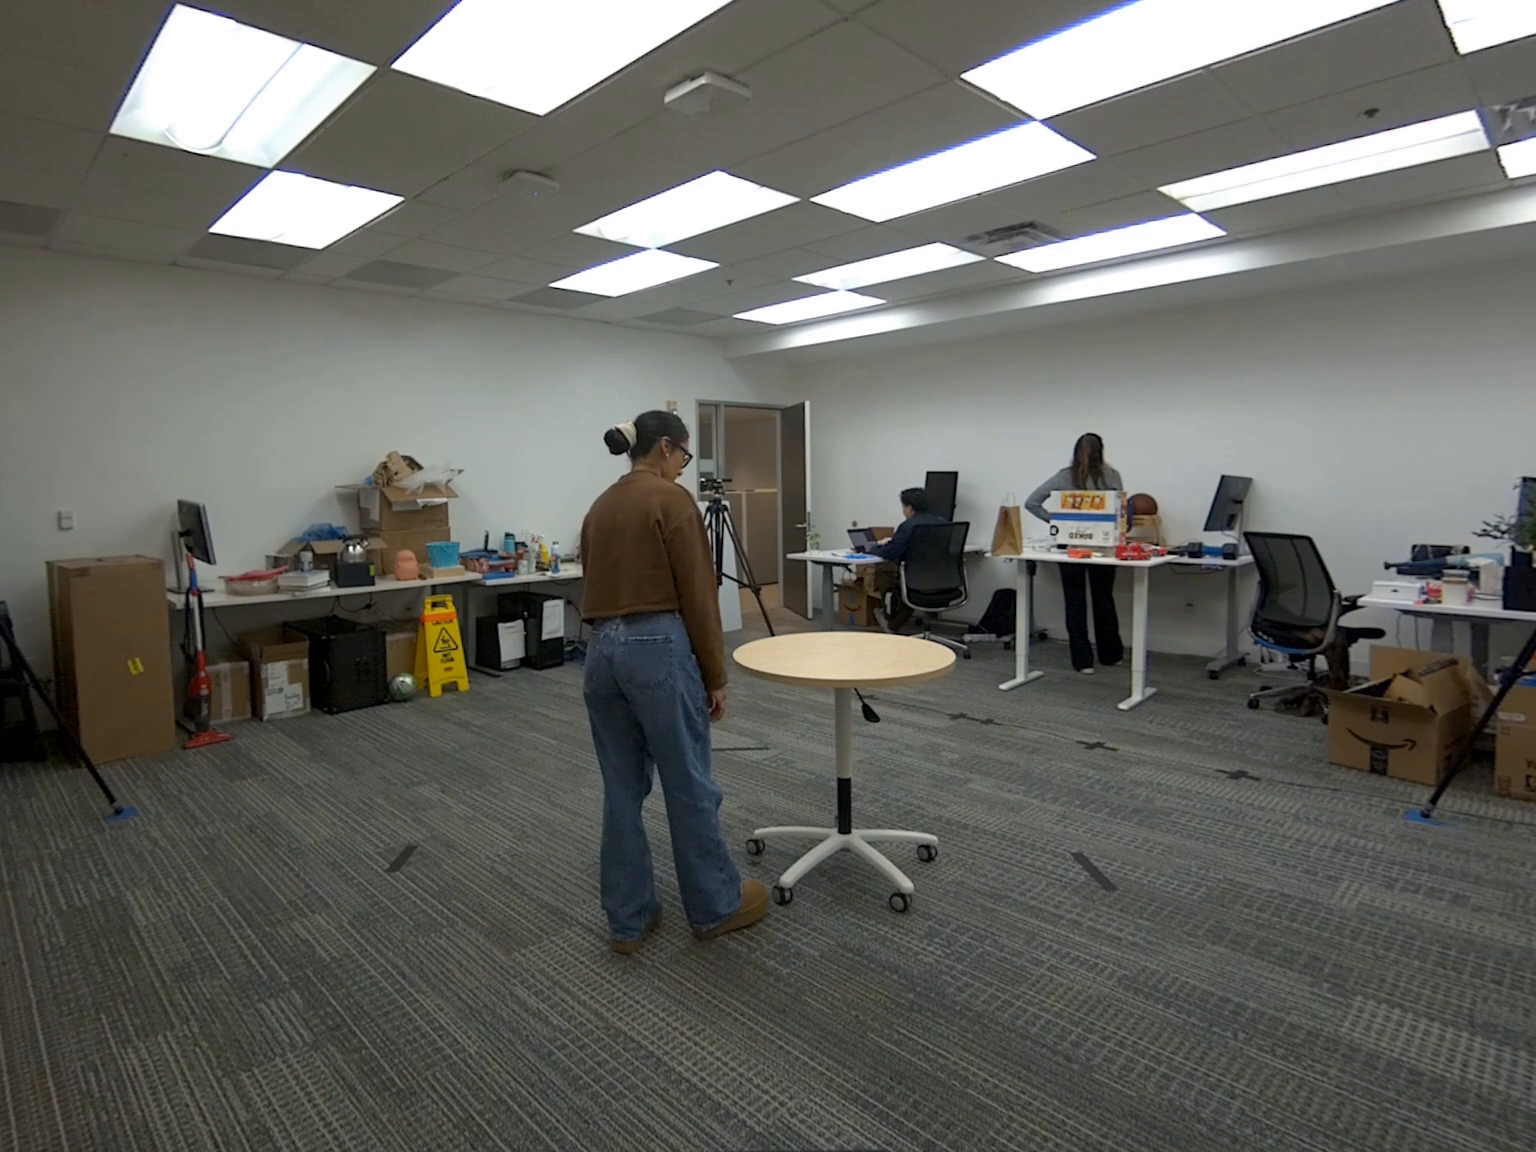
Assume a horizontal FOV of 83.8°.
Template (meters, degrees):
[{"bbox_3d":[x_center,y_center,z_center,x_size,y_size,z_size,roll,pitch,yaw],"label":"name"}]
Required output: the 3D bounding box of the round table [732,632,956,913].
[{"bbox_3d":[0.265,0.661,3.012,0.763,0.791,0.768,-1,5,-2],"label":"round table"}]
